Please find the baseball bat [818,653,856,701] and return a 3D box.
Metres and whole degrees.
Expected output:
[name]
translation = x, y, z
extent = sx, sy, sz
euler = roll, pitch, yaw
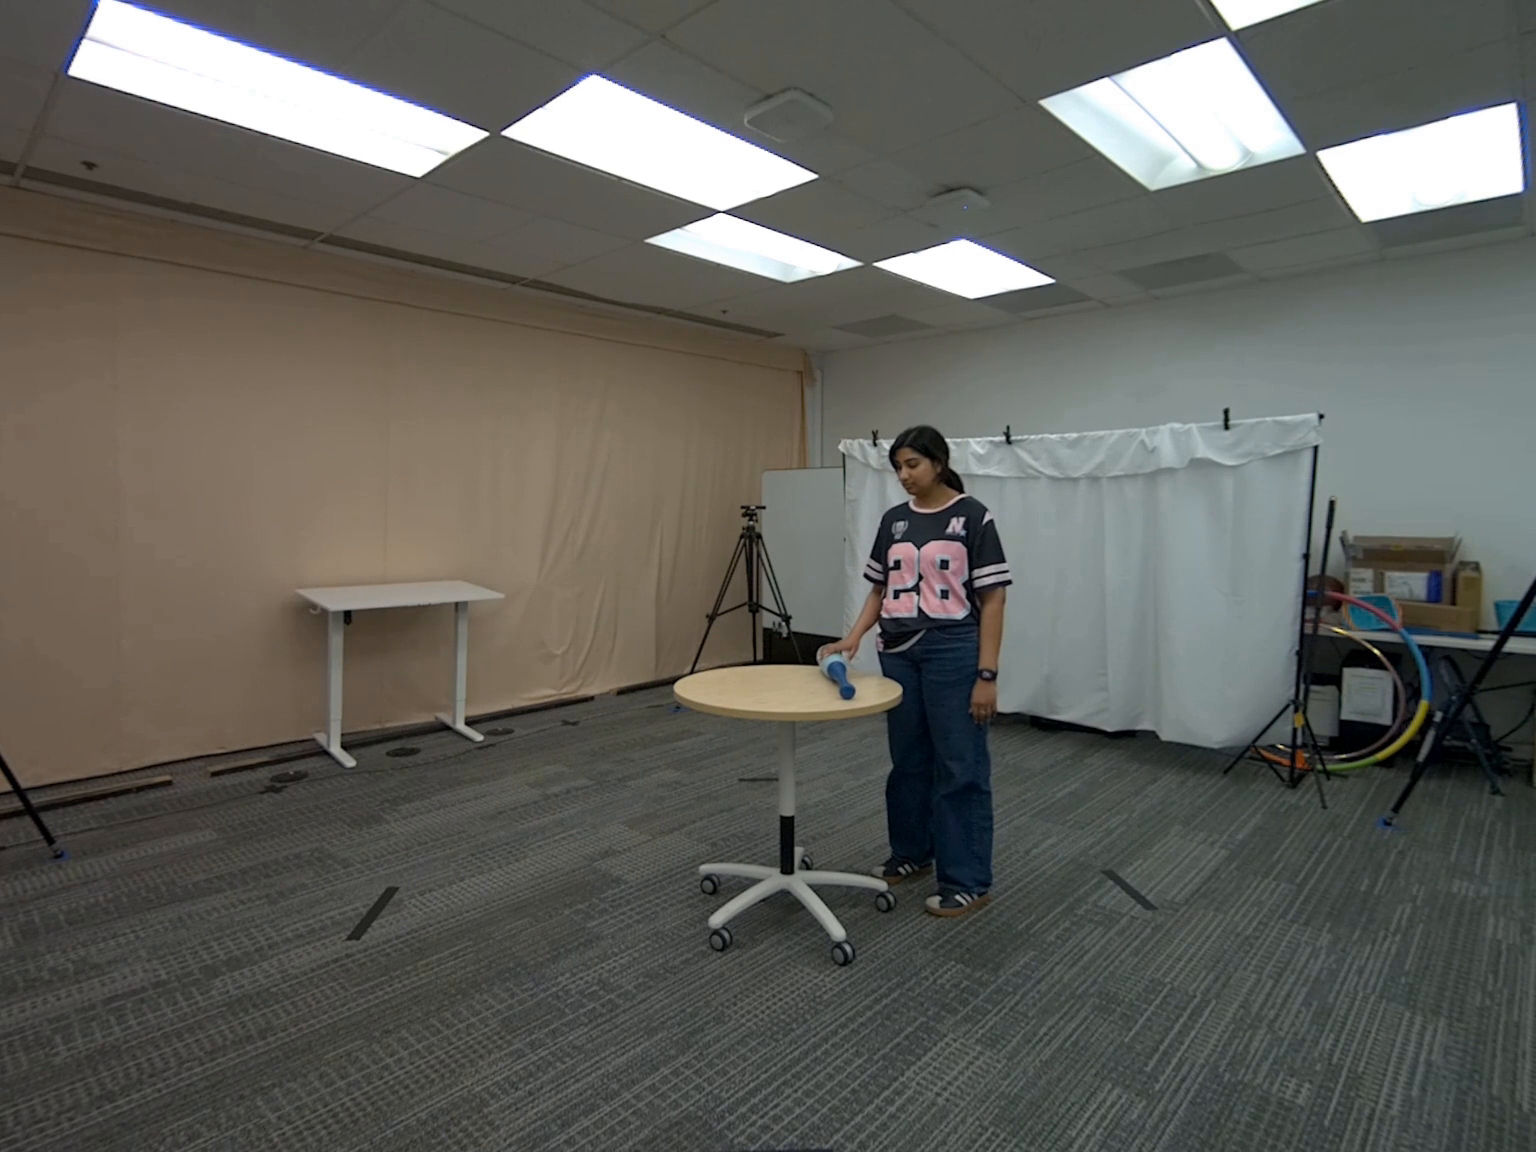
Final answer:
[baseball bat]
translation = 0.246, 0.332, 2.881
extent = 0.089, 0.089, 0.547
euler = 0, 7, -5
